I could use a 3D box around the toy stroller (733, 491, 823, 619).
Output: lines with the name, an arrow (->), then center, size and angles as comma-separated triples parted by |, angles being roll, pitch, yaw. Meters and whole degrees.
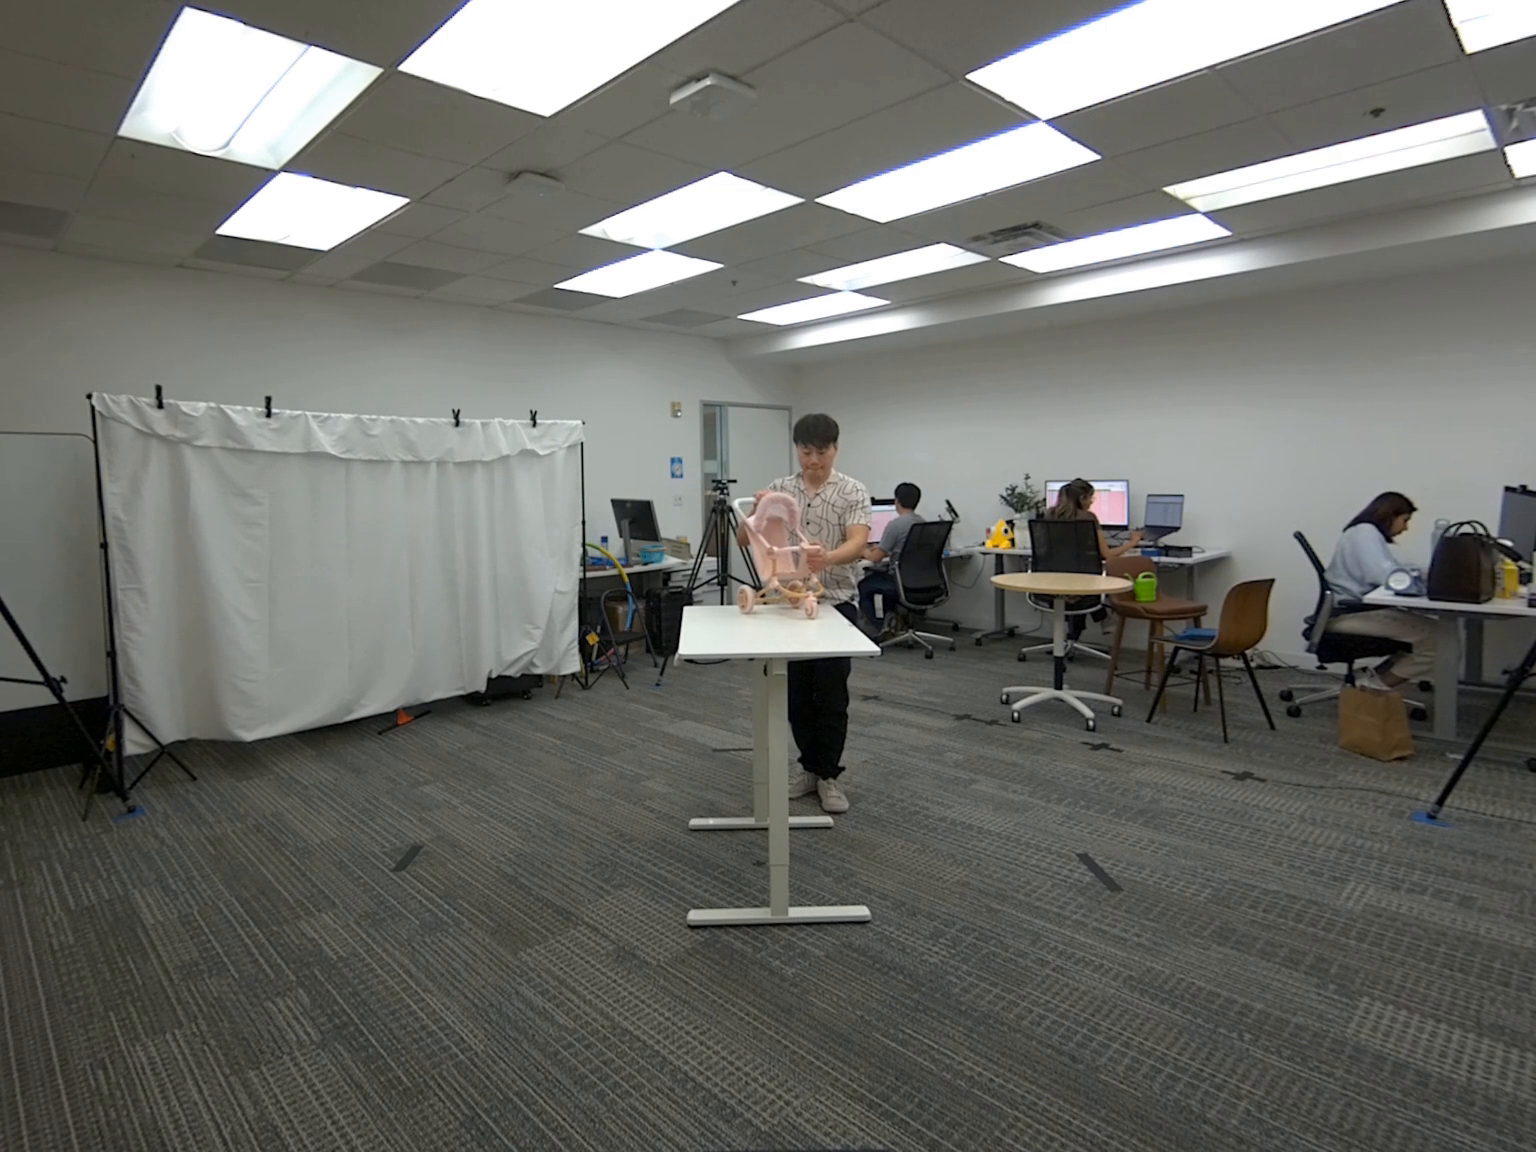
toy stroller -> 0.050, -0.082, 3.301 | 0.275, 0.540, 0.346 | -3, -10, -28
